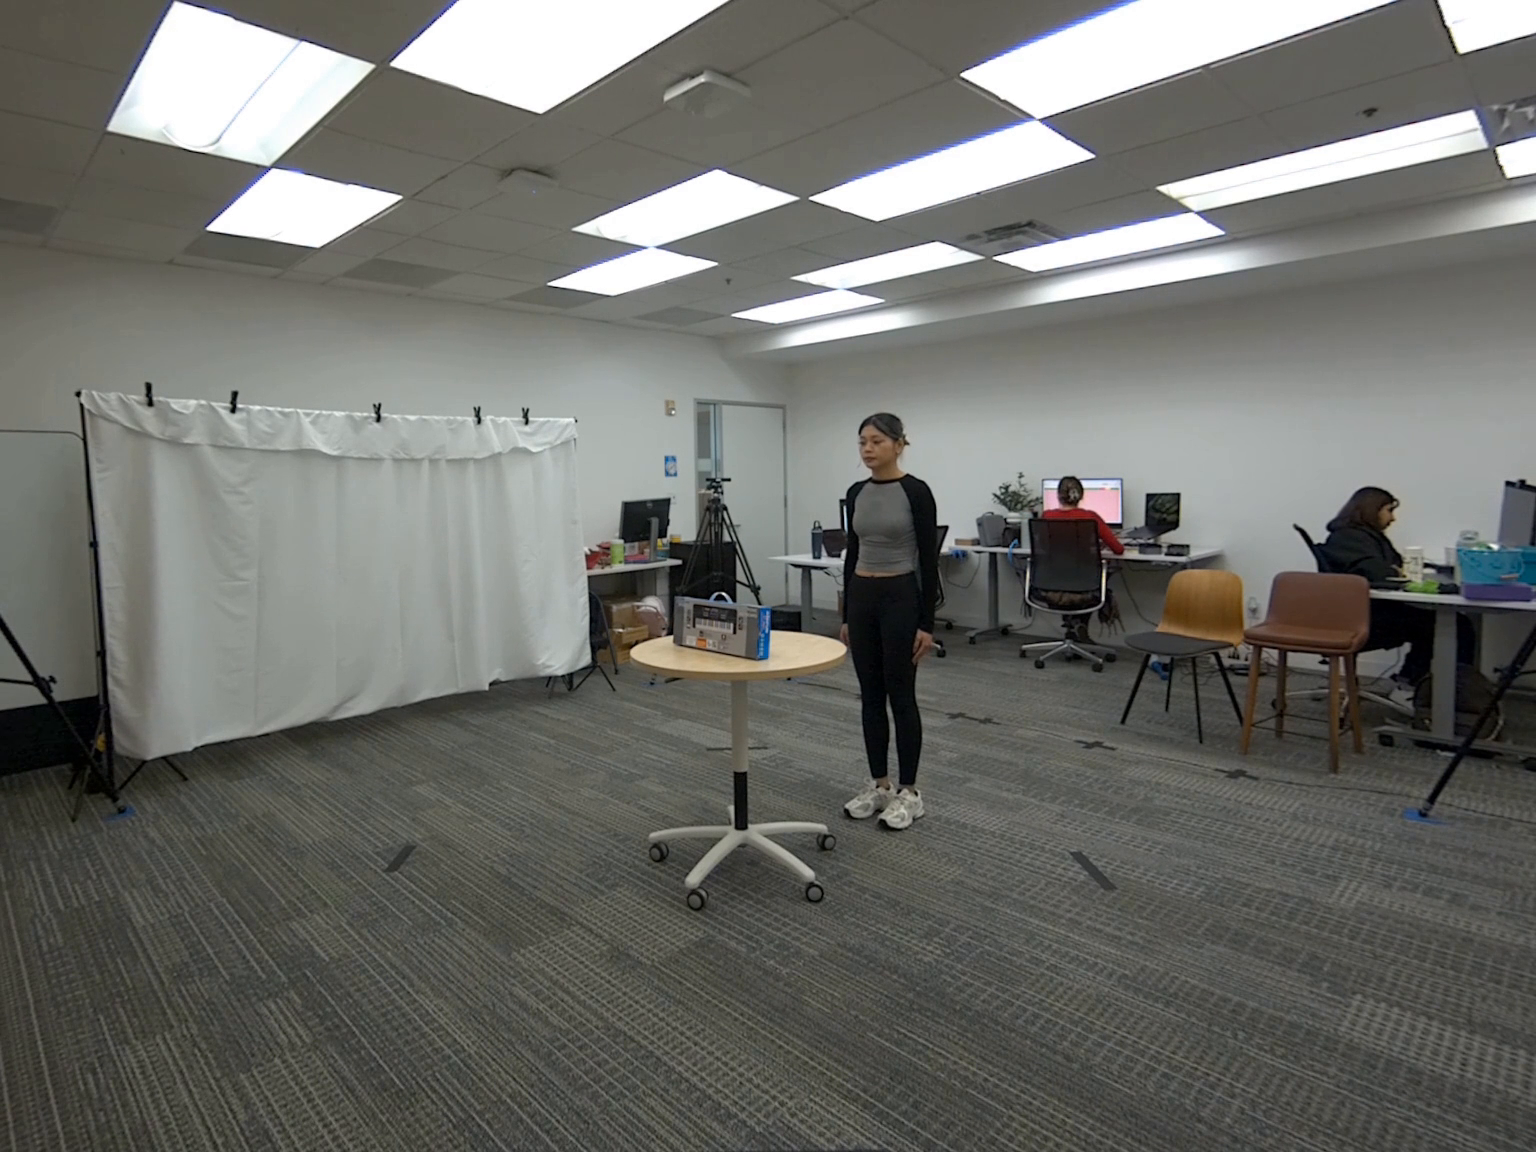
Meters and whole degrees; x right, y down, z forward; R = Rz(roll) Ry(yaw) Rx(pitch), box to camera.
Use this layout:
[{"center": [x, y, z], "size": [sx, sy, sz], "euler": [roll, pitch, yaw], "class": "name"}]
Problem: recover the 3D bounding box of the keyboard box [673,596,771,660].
[{"center": [-0.167, 0.178, 2.987], "size": [0.057, 0.176, 0.450], "euler": [3, 1, -45], "class": "keyboard box"}]
